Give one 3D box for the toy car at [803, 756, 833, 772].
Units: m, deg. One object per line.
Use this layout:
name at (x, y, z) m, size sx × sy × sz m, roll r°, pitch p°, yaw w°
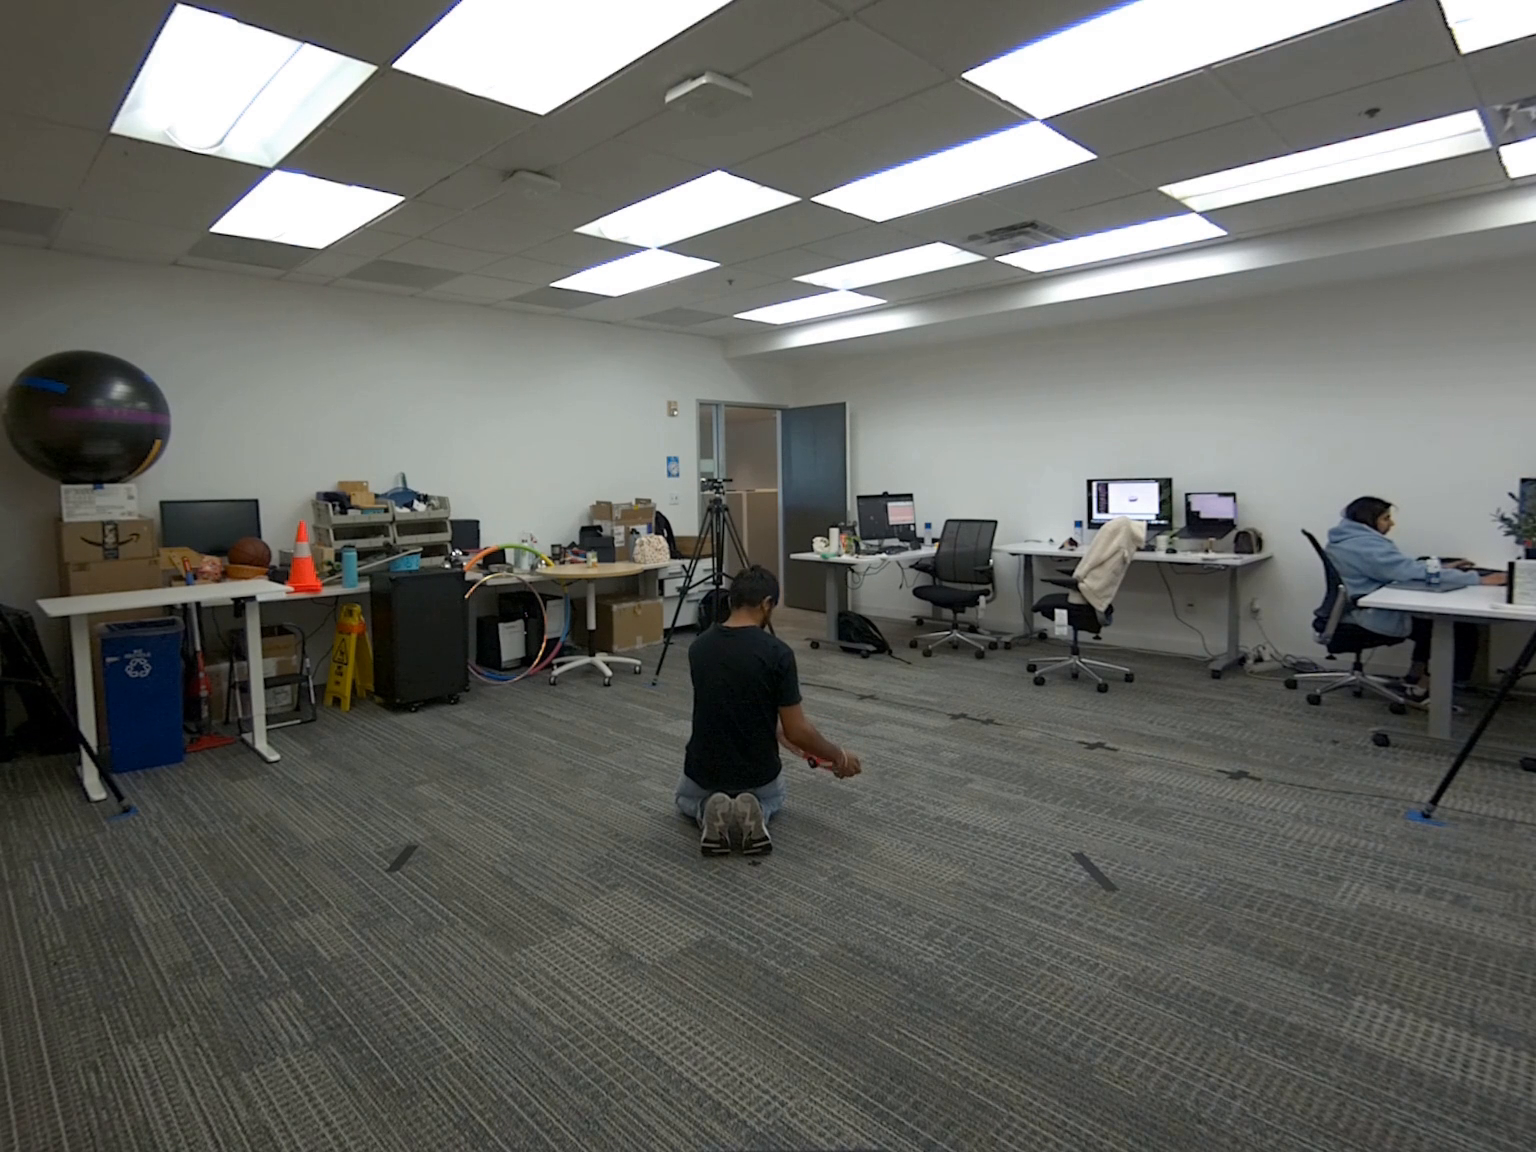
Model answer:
toy car at (0.252, 0.752, 3.483) m, size 0.127 × 0.082 × 0.264 m, roll -3°, pitch 16°, yaw -36°
